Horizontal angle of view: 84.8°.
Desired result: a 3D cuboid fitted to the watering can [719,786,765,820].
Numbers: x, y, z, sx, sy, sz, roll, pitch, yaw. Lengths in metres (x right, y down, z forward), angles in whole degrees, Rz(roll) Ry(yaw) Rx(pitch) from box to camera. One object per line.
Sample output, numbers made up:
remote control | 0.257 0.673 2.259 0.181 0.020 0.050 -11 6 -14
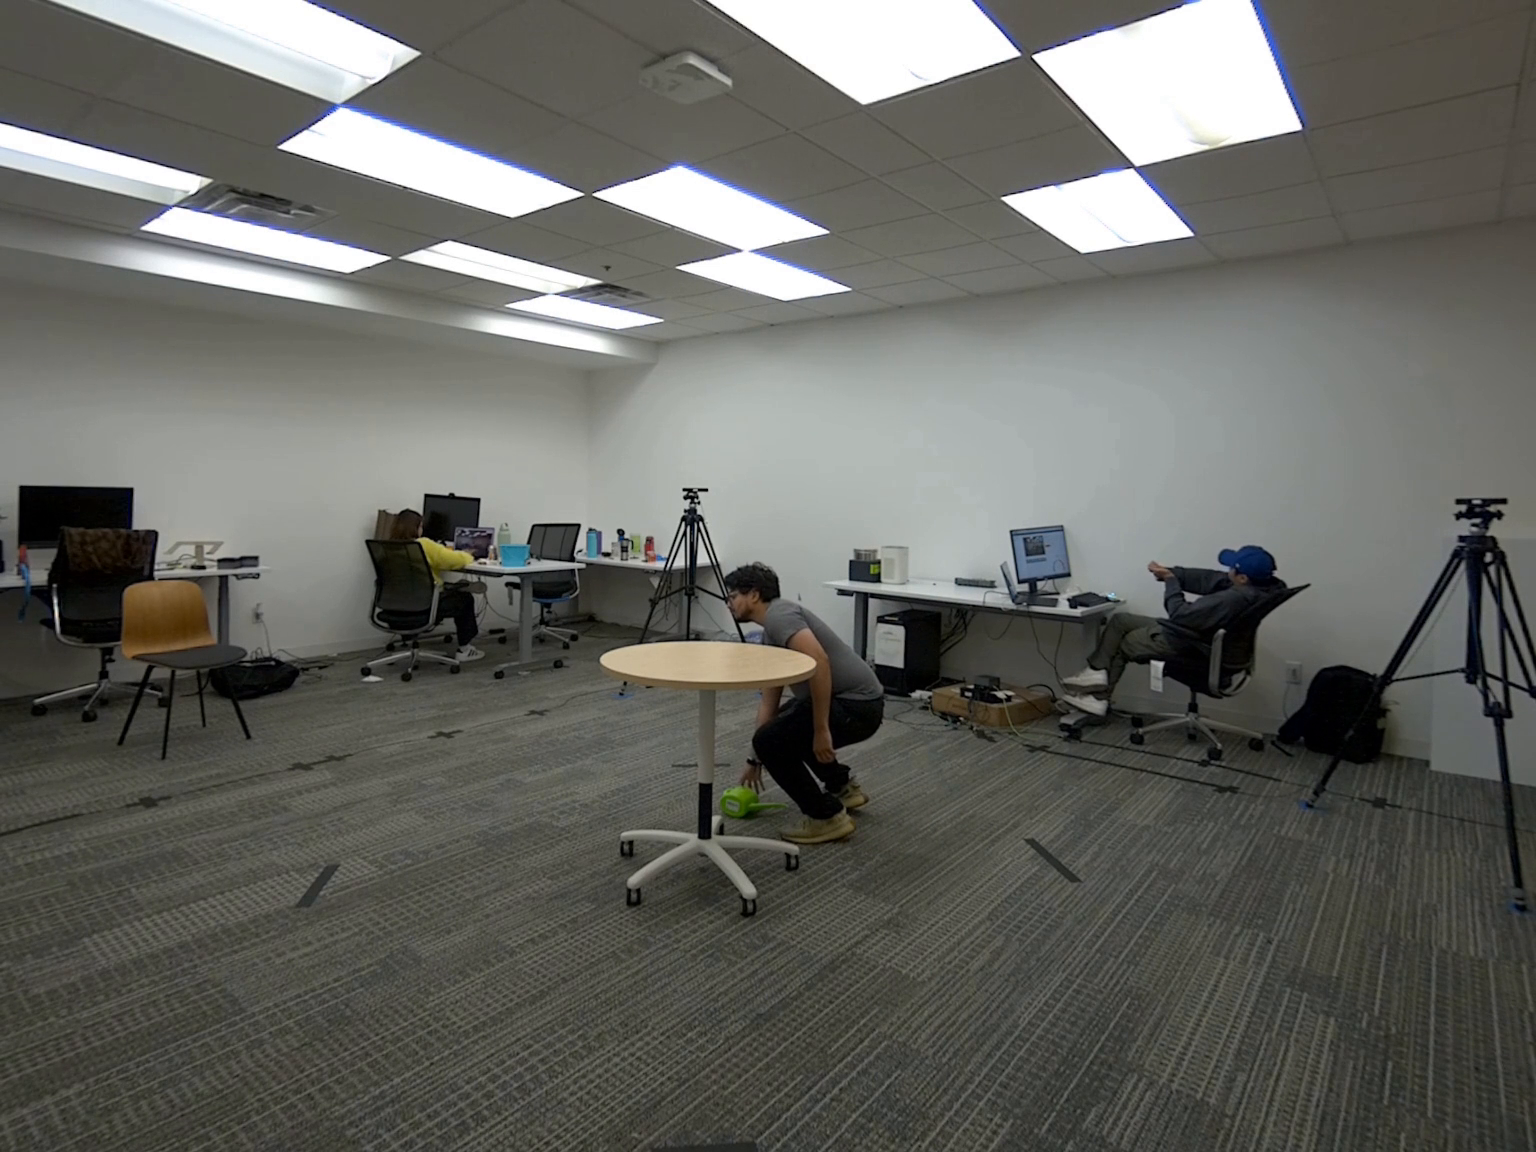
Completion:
watering can | -0.085 0.968 3.670 0.285 0.098 0.173 -3 2 26
